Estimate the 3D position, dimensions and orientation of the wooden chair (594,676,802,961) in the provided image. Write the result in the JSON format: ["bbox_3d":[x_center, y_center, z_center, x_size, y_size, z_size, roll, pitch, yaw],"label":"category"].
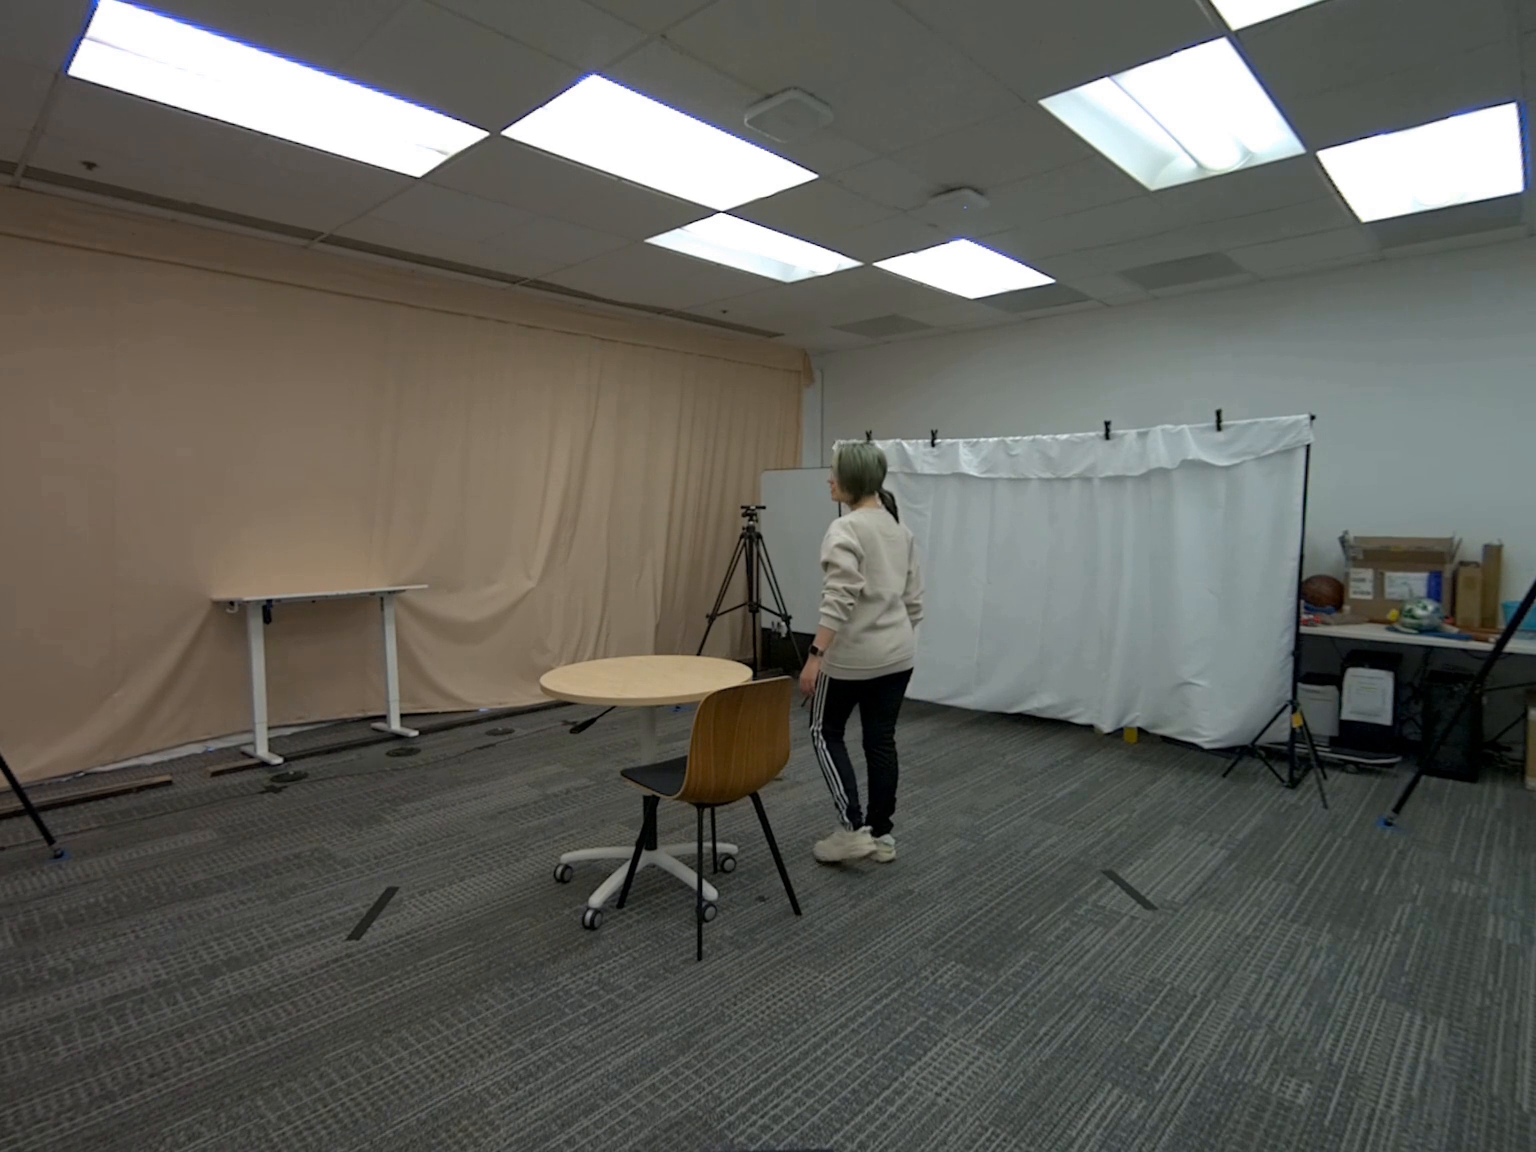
[{"bbox_3d":[-0.207,0.725,2.866,0.463,0.874,0.541,-4,9,-41],"label":"wooden chair"}]
